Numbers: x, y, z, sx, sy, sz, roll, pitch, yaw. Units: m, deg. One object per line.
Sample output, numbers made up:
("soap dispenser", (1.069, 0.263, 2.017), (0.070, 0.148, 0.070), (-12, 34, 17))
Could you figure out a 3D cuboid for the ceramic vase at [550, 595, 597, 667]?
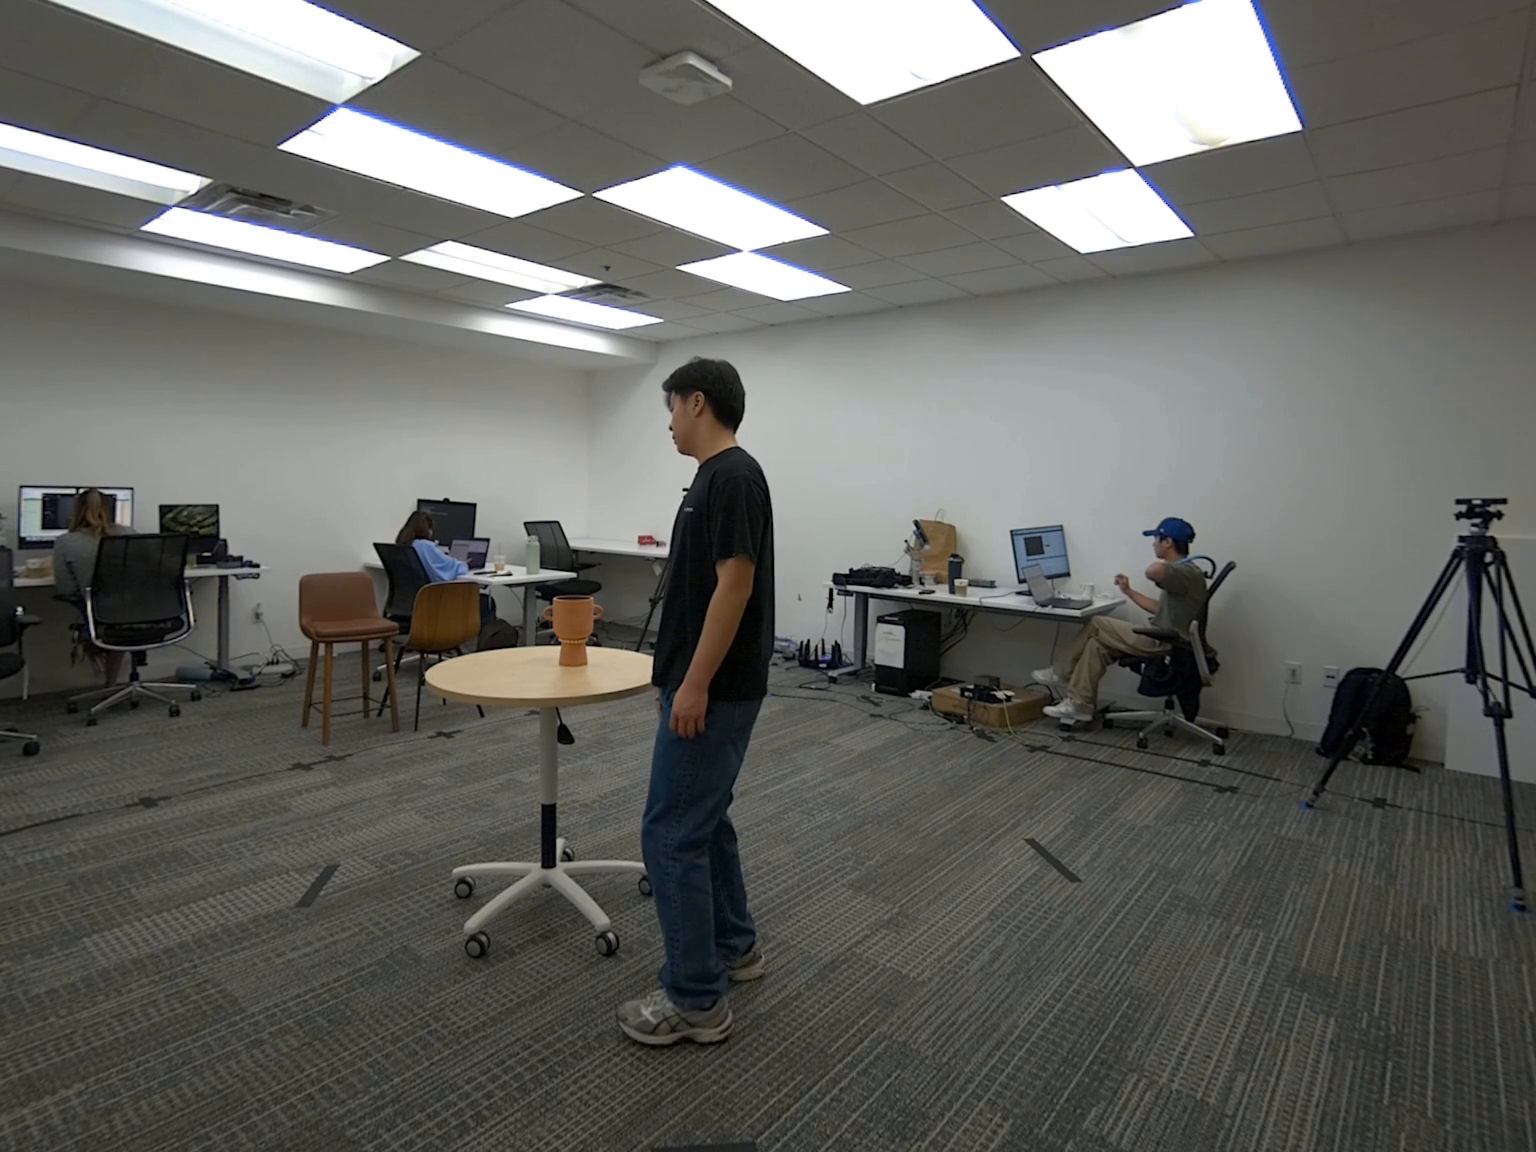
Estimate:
("ceramic vase", (-0.665, 0.182, 2.837), (0.163, 0.219, 0.132), (3, 5, 24))
